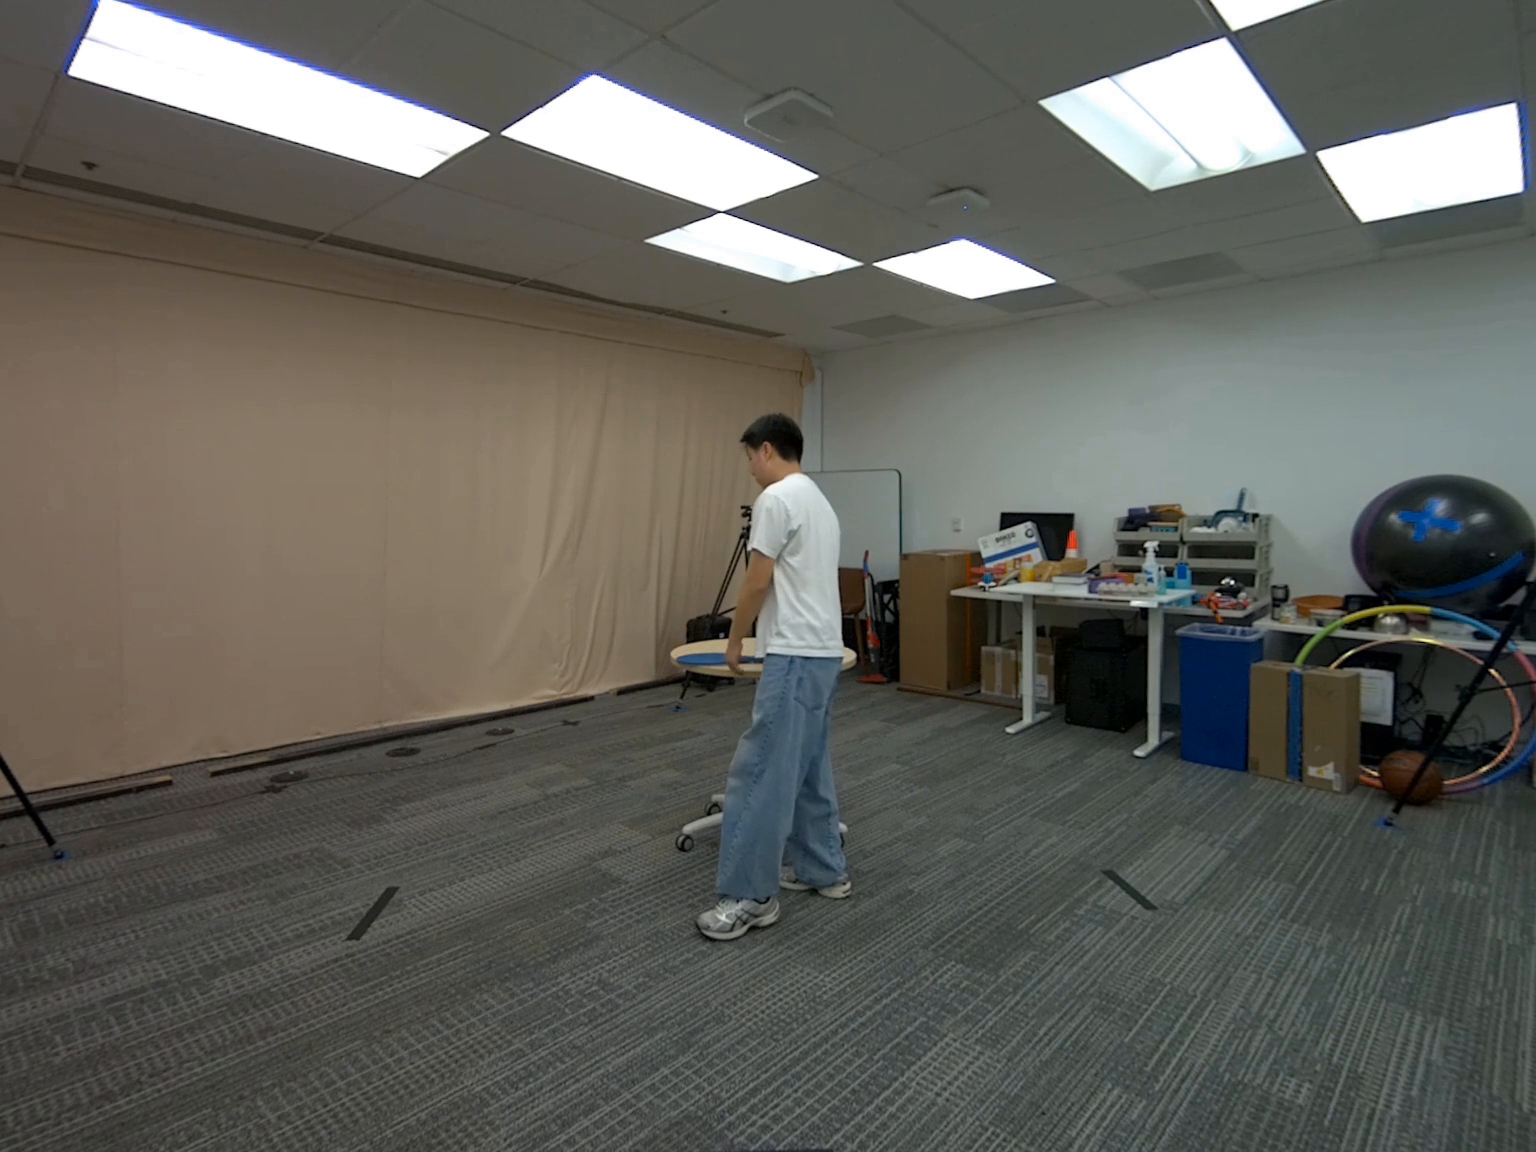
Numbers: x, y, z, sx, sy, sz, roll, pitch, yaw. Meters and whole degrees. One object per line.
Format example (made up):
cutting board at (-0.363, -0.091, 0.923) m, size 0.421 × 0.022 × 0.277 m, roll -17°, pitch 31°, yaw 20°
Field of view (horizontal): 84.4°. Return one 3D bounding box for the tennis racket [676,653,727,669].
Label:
tennis racket at (-0.149, 0.327, 3.295) m, size 0.438 × 0.032 × 0.212 m, roll 0°, pitch 5°, yaw 10°
